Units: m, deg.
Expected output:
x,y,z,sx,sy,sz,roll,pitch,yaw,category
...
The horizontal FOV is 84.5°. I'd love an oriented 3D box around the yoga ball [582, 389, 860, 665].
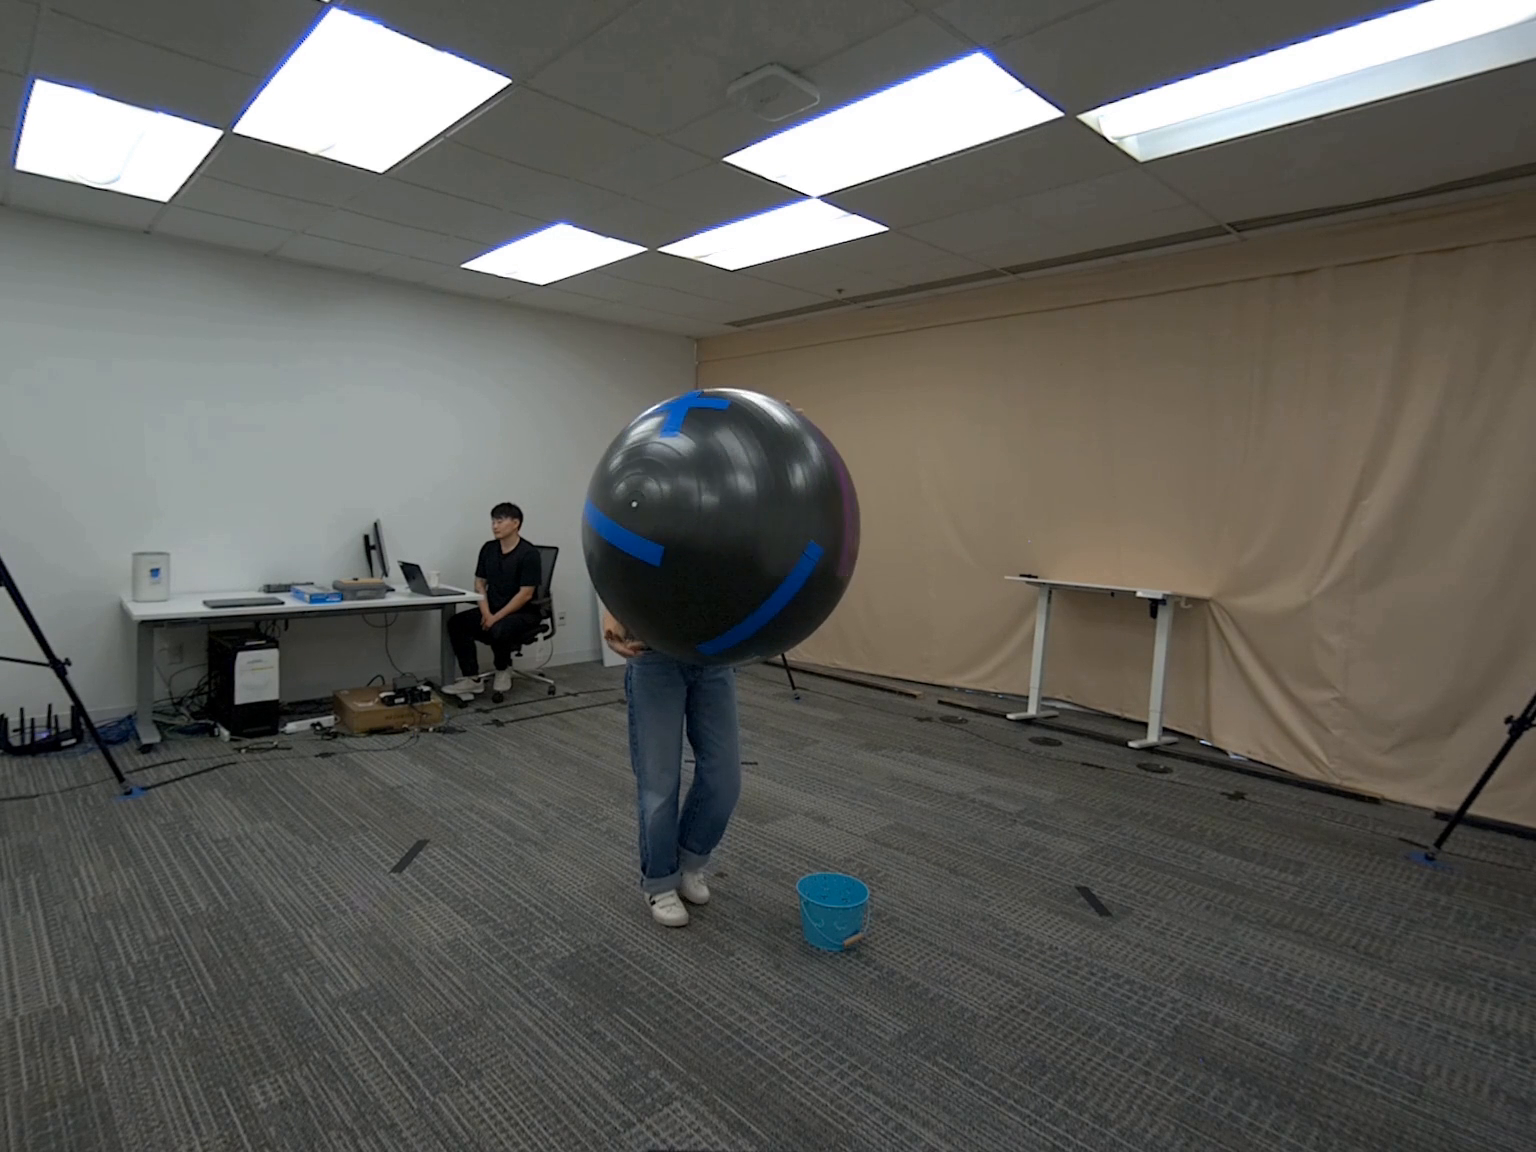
x,y,z,sx,sy,sz,roll,pitch,yaw,category
-0.128,-0.126,2.305,0.757,0.756,0.761,1,4,-1,yoga ball
